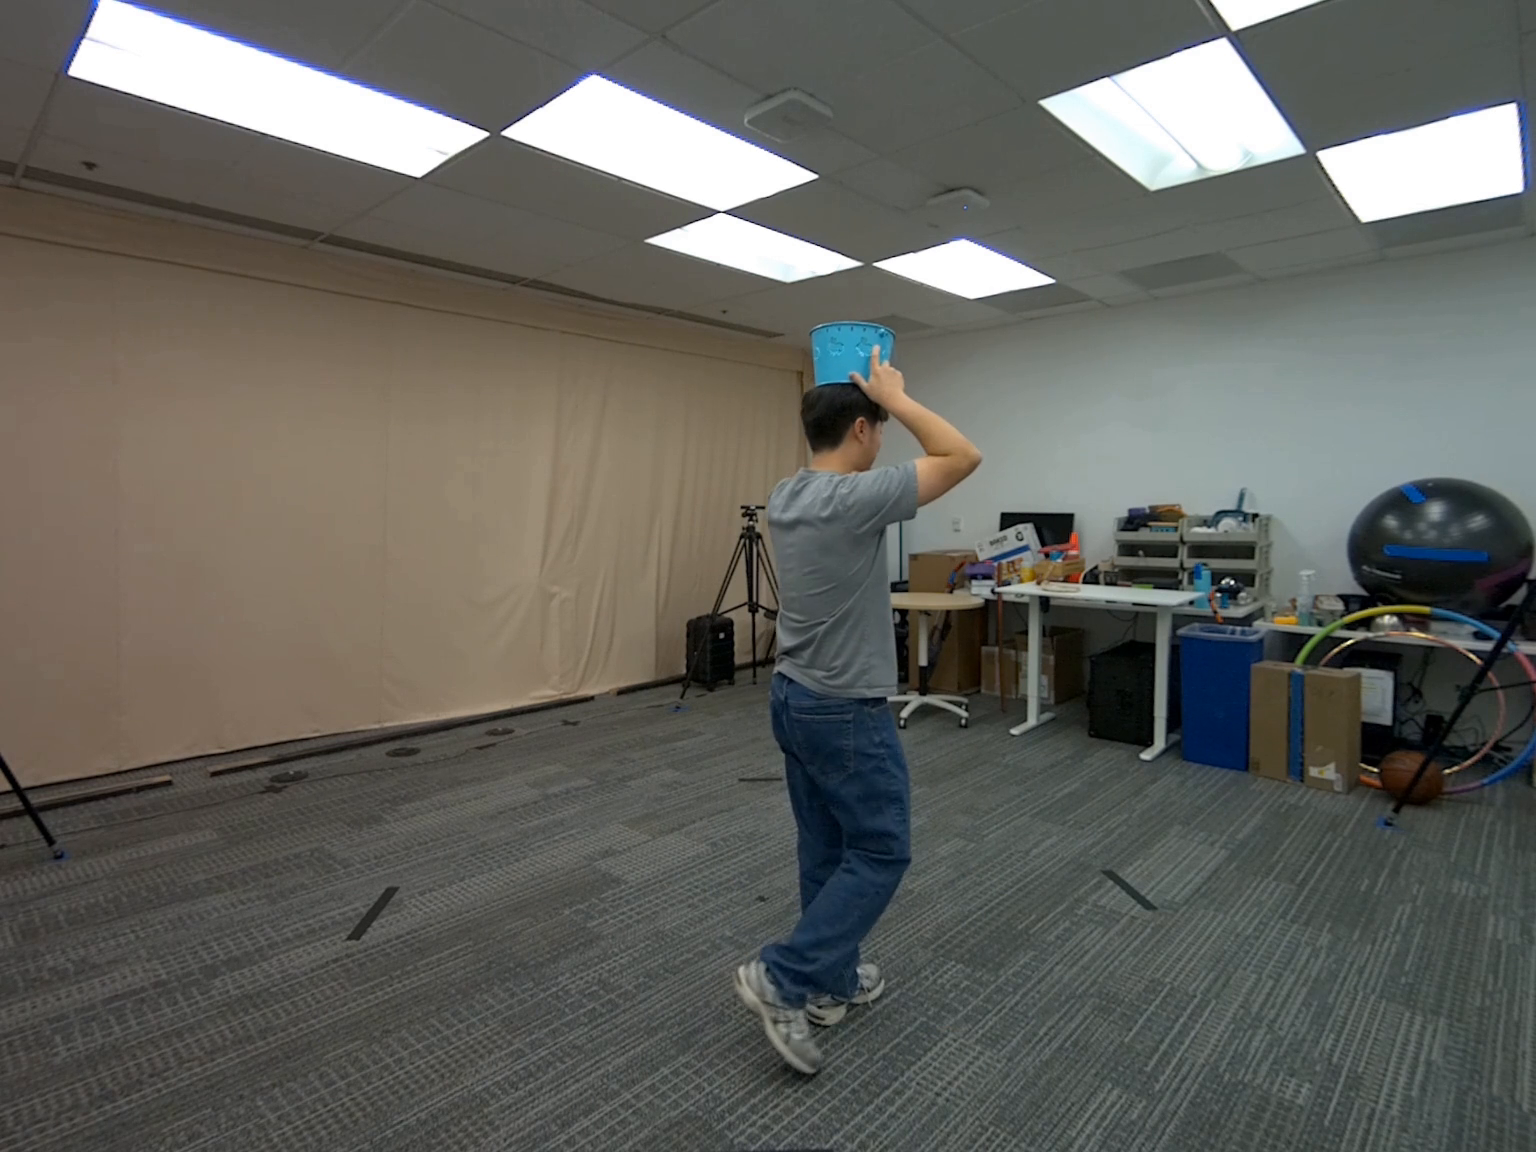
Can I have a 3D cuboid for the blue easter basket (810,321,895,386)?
[{"bbox_3d":[0.243,-0.573,2.273,0.243,0.156,0.244,5,1,-2],"label":"blue easter basket"}]
